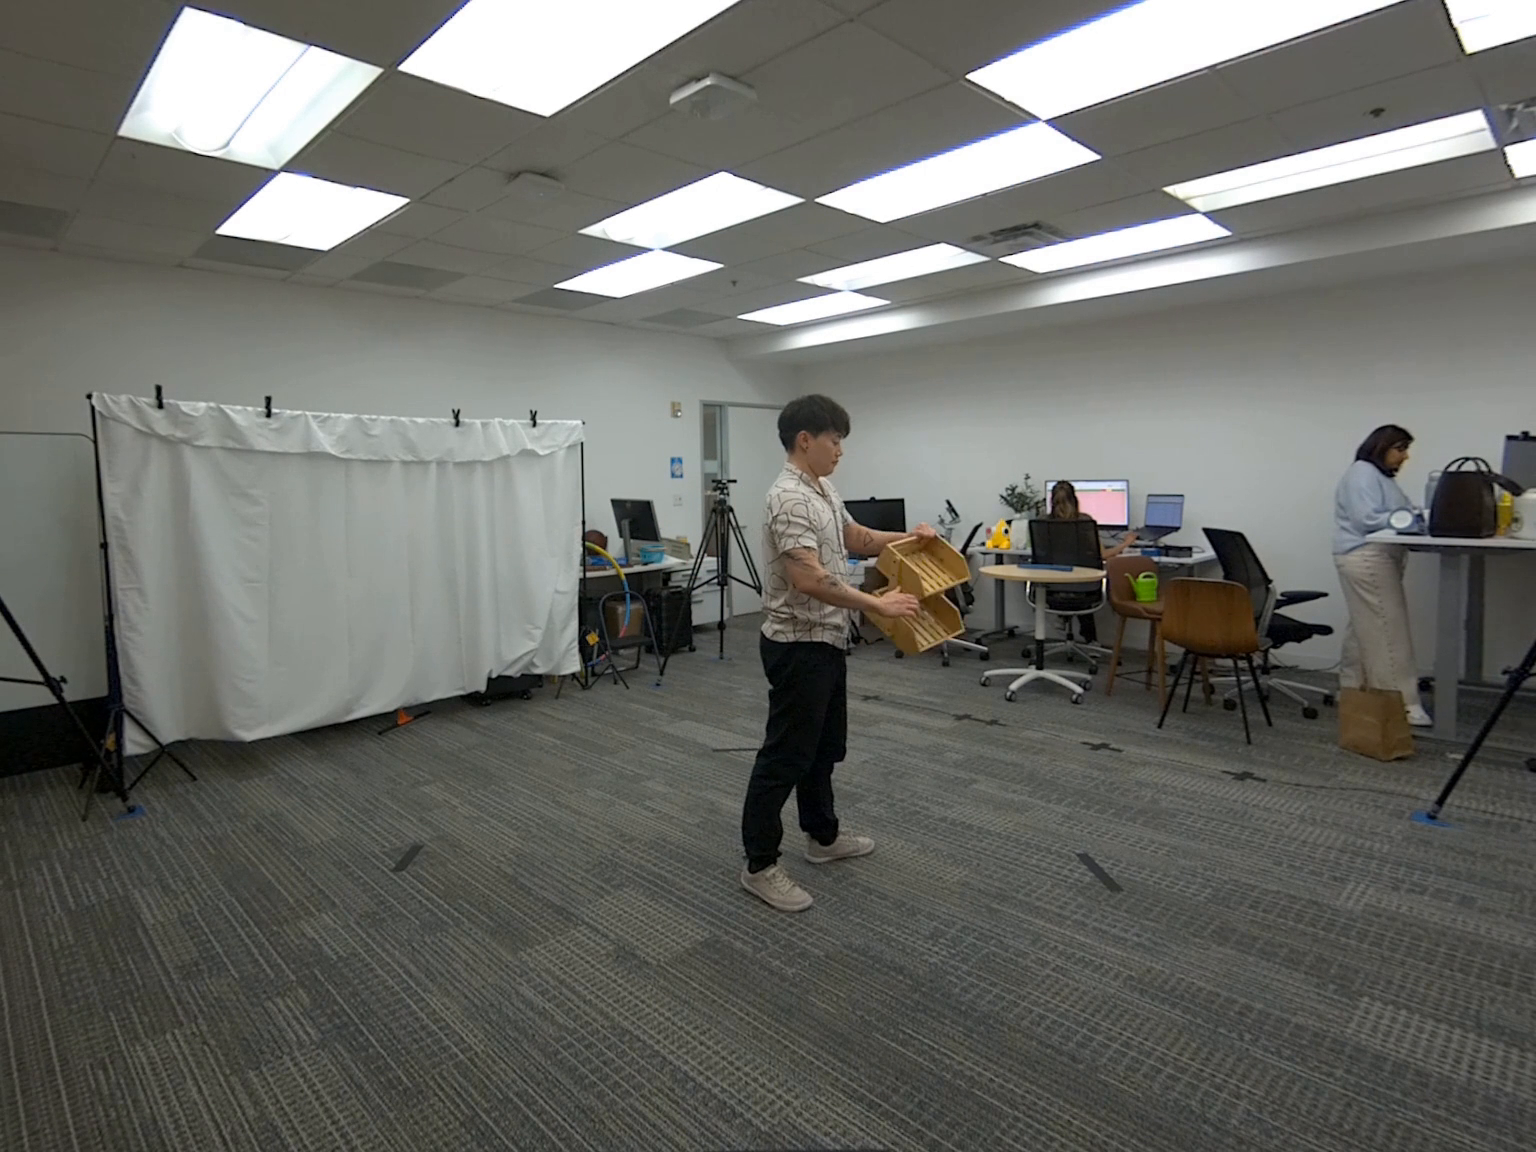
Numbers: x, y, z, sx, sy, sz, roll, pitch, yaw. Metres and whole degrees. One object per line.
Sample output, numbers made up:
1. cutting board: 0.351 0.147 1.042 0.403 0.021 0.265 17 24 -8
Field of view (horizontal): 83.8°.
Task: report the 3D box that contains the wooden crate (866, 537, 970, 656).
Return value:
1. wooden crate: 0.534 0.059 2.929 0.317 0.270 0.312 -15 51 -46
